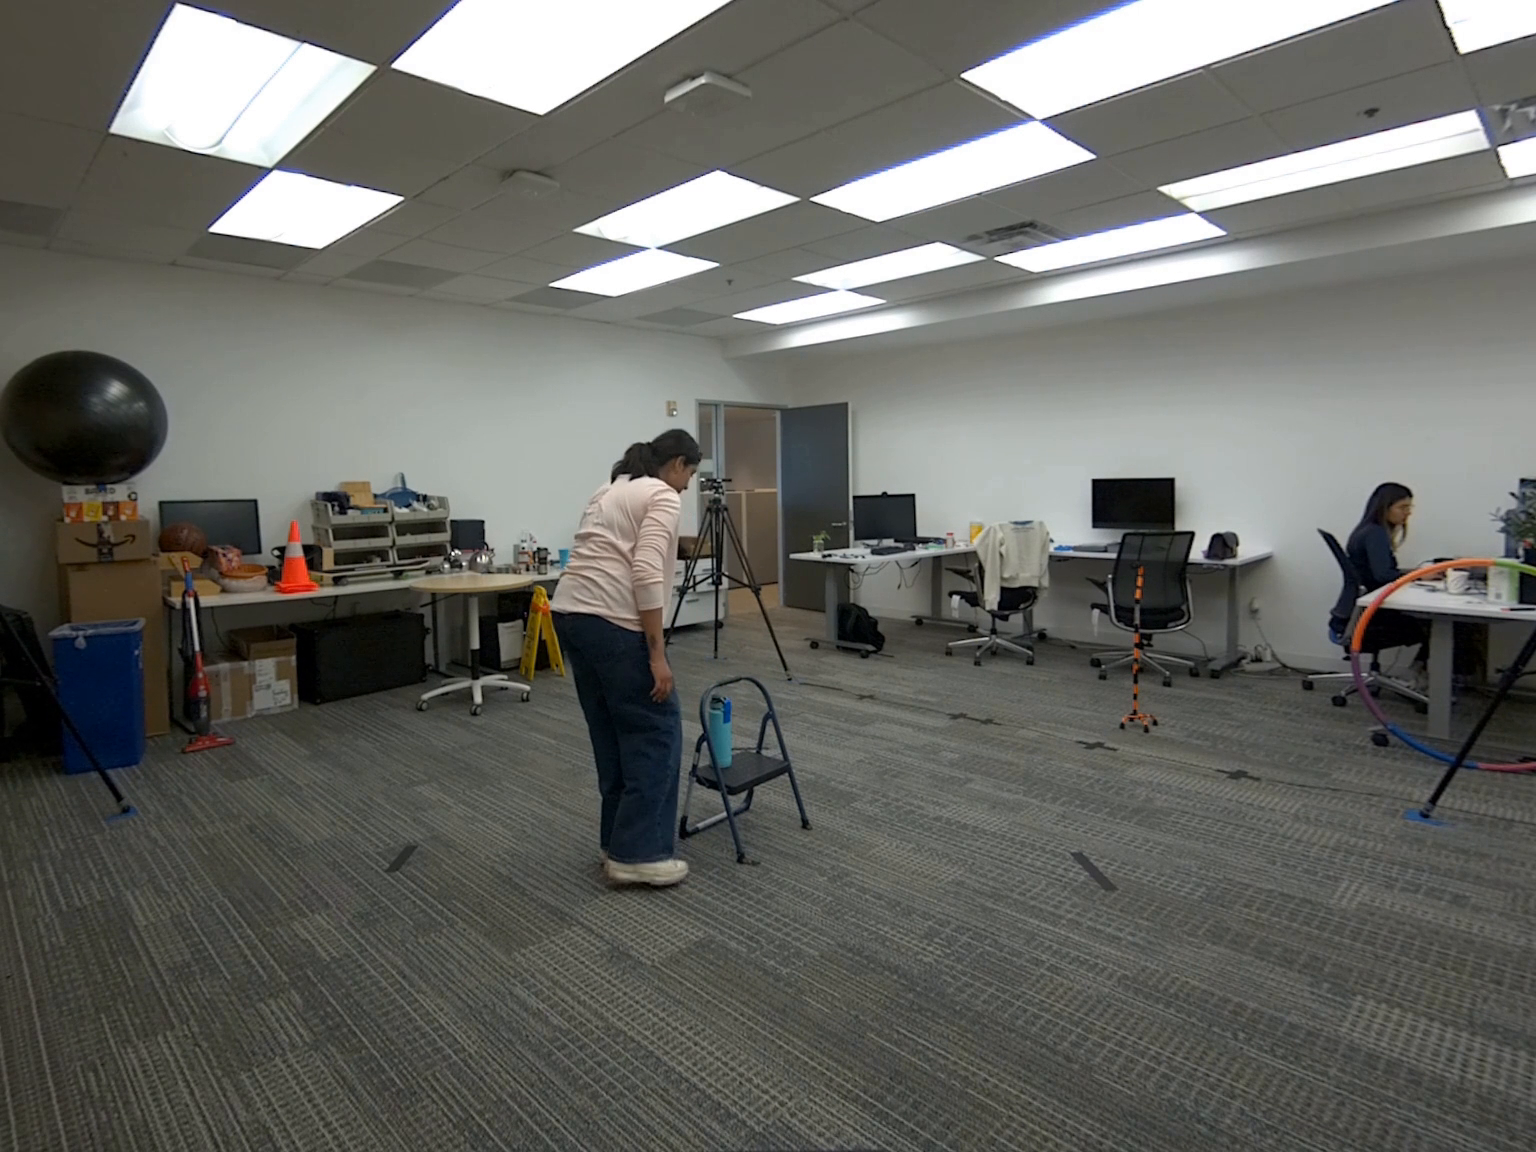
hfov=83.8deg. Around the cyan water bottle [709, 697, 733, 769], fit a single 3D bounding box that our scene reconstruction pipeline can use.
[{"bbox_3d":[-0.188,0.614,3.390,0.092,0.283,0.092,-2,1,-2],"label":"cyan water bottle"}]
